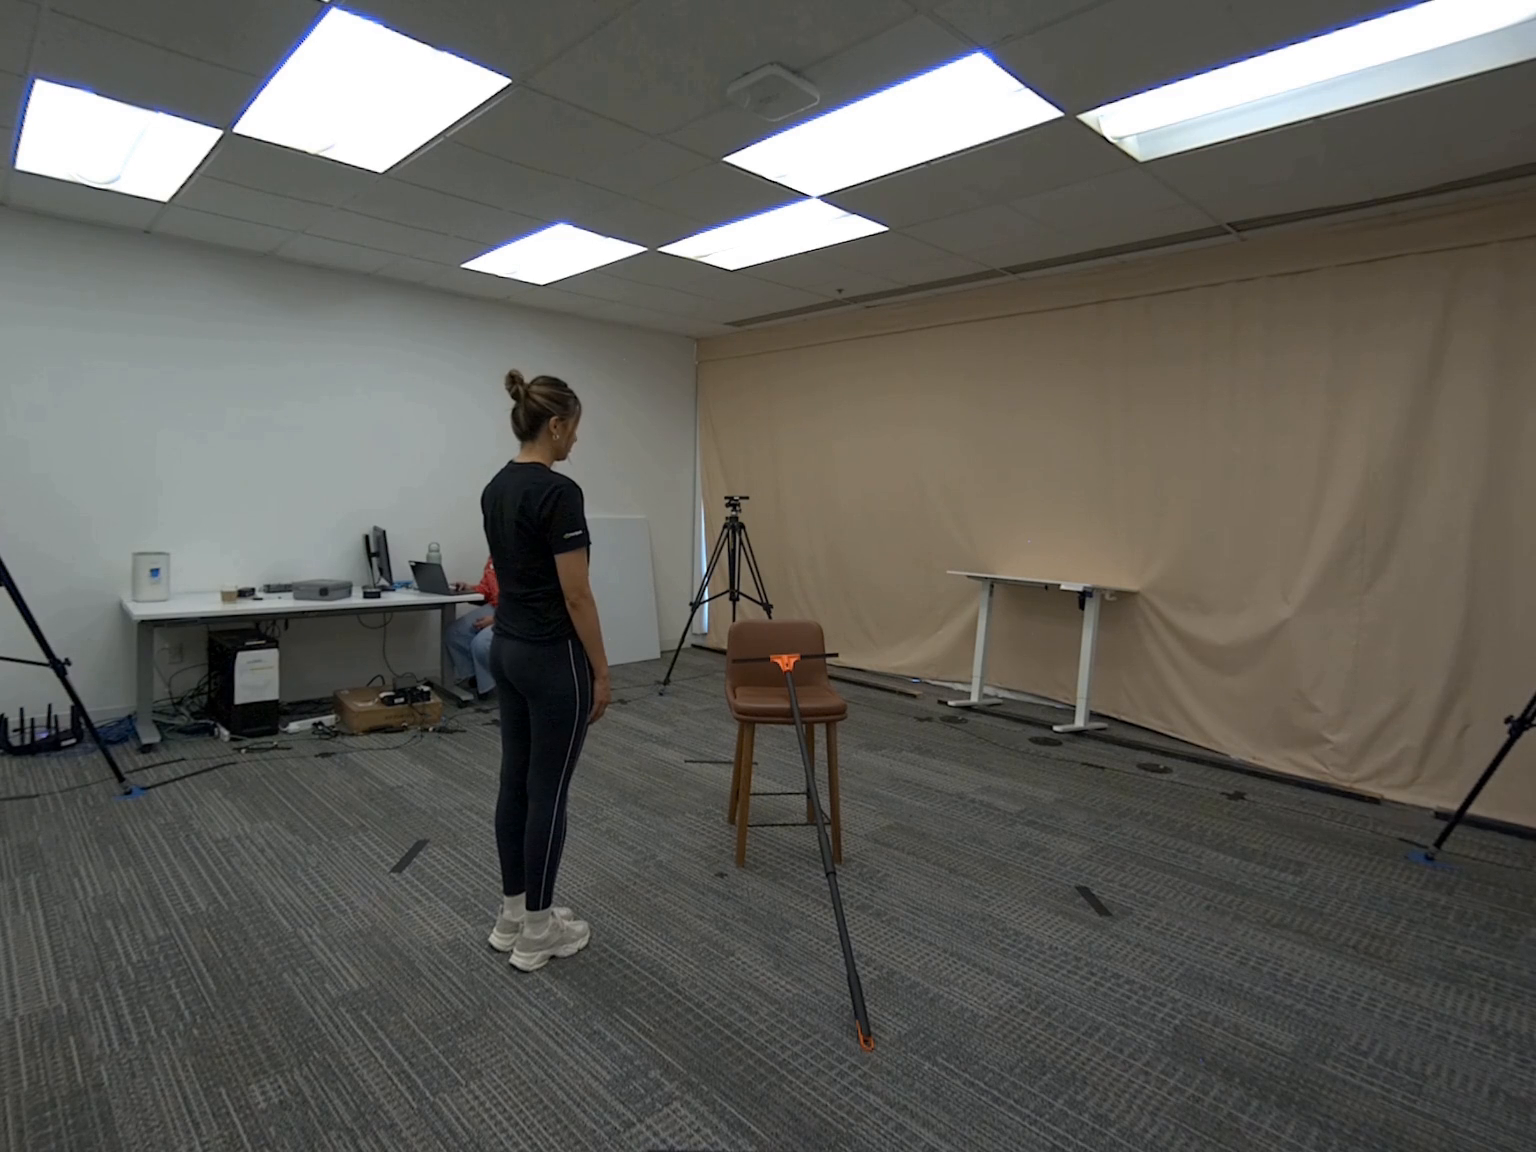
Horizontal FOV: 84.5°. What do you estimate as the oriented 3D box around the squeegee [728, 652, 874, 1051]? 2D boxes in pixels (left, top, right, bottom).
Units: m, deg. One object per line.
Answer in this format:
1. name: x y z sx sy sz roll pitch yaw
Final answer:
1. squeegee: 0.145 0.747 2.788 0.438 0.051 1.576 -19 35 3
